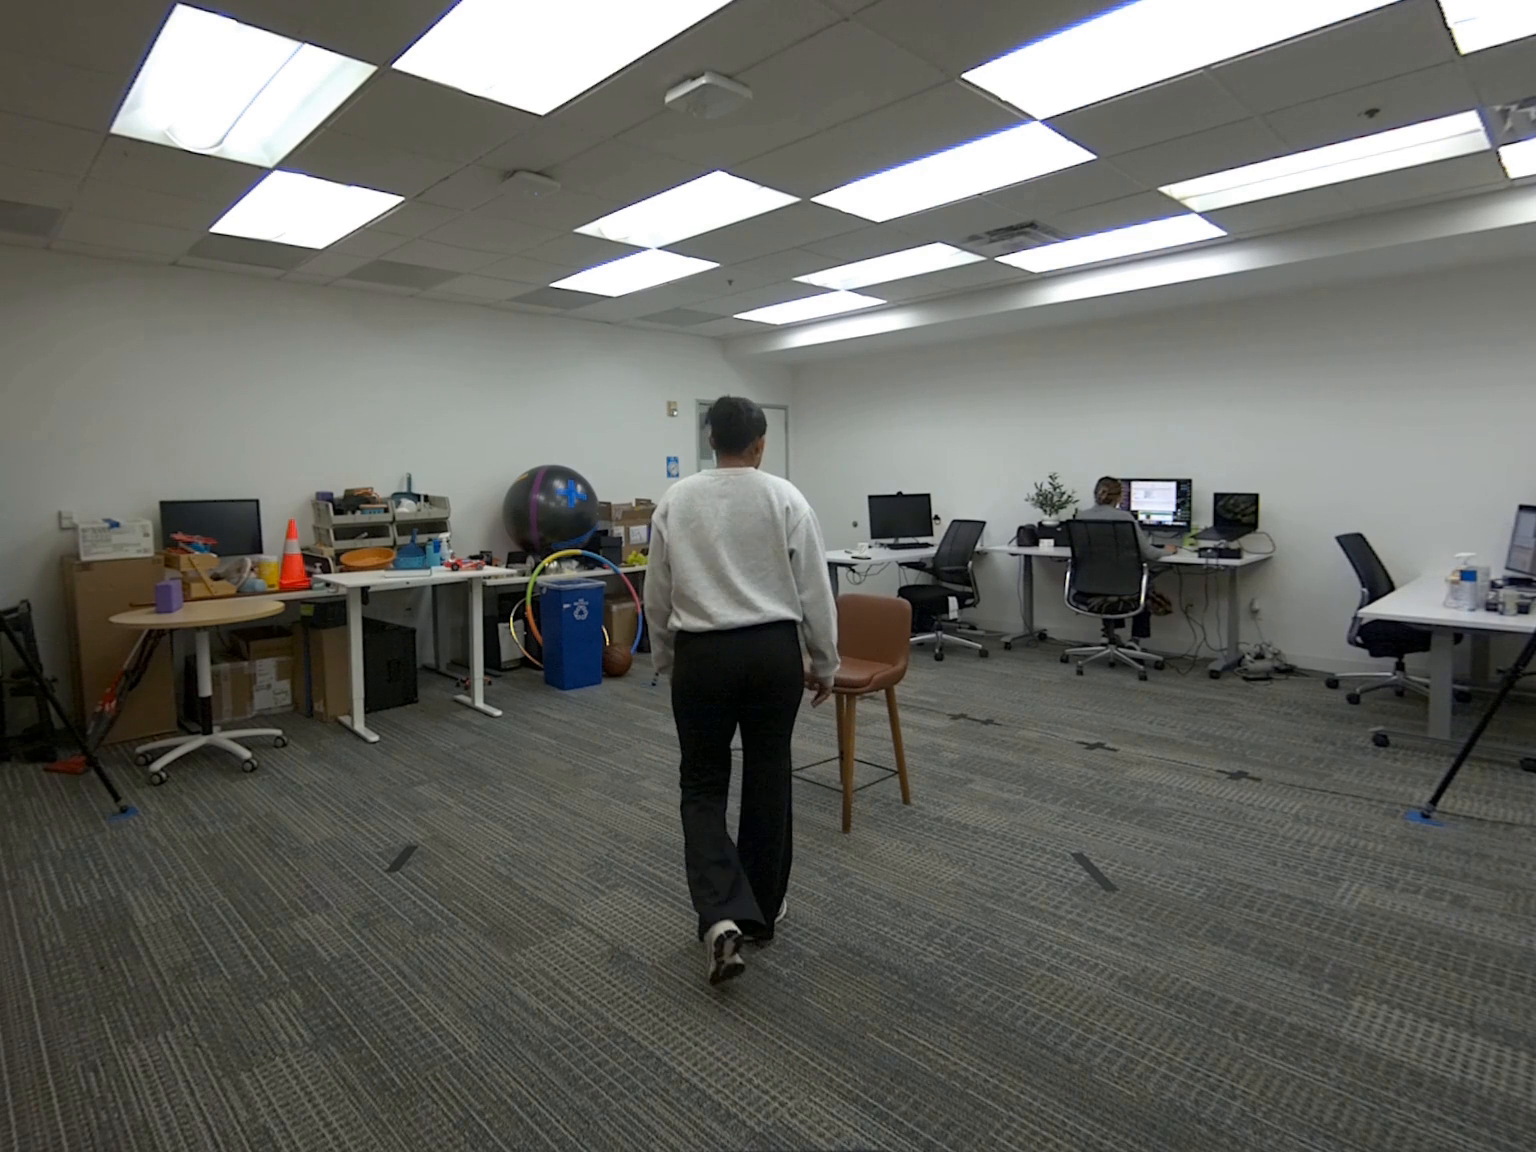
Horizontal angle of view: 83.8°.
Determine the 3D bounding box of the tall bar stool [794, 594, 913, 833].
[{"bbox_3d":[0.326,0.543,3.622,0.454,0.888,0.471,-2,4,-44],"label":"tall bar stool"}]
